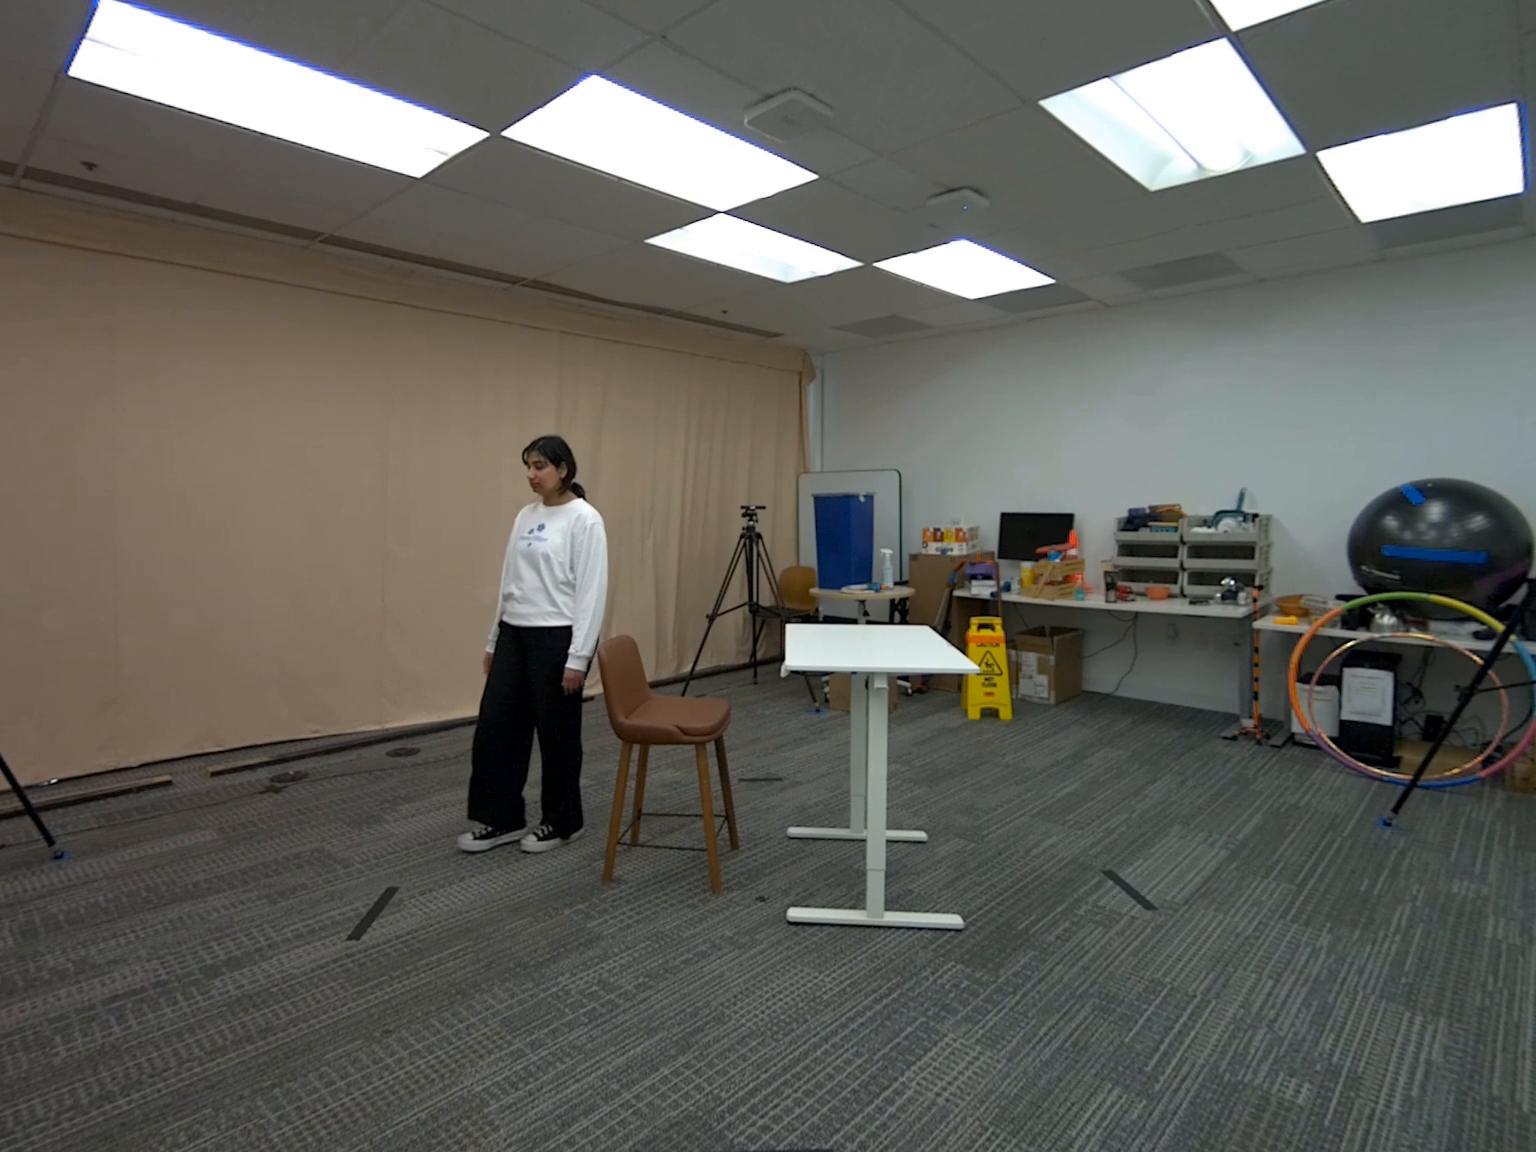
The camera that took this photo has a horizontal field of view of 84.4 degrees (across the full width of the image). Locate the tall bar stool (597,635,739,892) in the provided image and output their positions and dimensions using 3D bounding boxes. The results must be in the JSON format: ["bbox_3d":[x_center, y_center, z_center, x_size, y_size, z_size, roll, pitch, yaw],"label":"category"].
[{"bbox_3d":[-0.379,0.688,3.242,0.473,0.888,0.452,-2,2,11],"label":"tall bar stool"}]
